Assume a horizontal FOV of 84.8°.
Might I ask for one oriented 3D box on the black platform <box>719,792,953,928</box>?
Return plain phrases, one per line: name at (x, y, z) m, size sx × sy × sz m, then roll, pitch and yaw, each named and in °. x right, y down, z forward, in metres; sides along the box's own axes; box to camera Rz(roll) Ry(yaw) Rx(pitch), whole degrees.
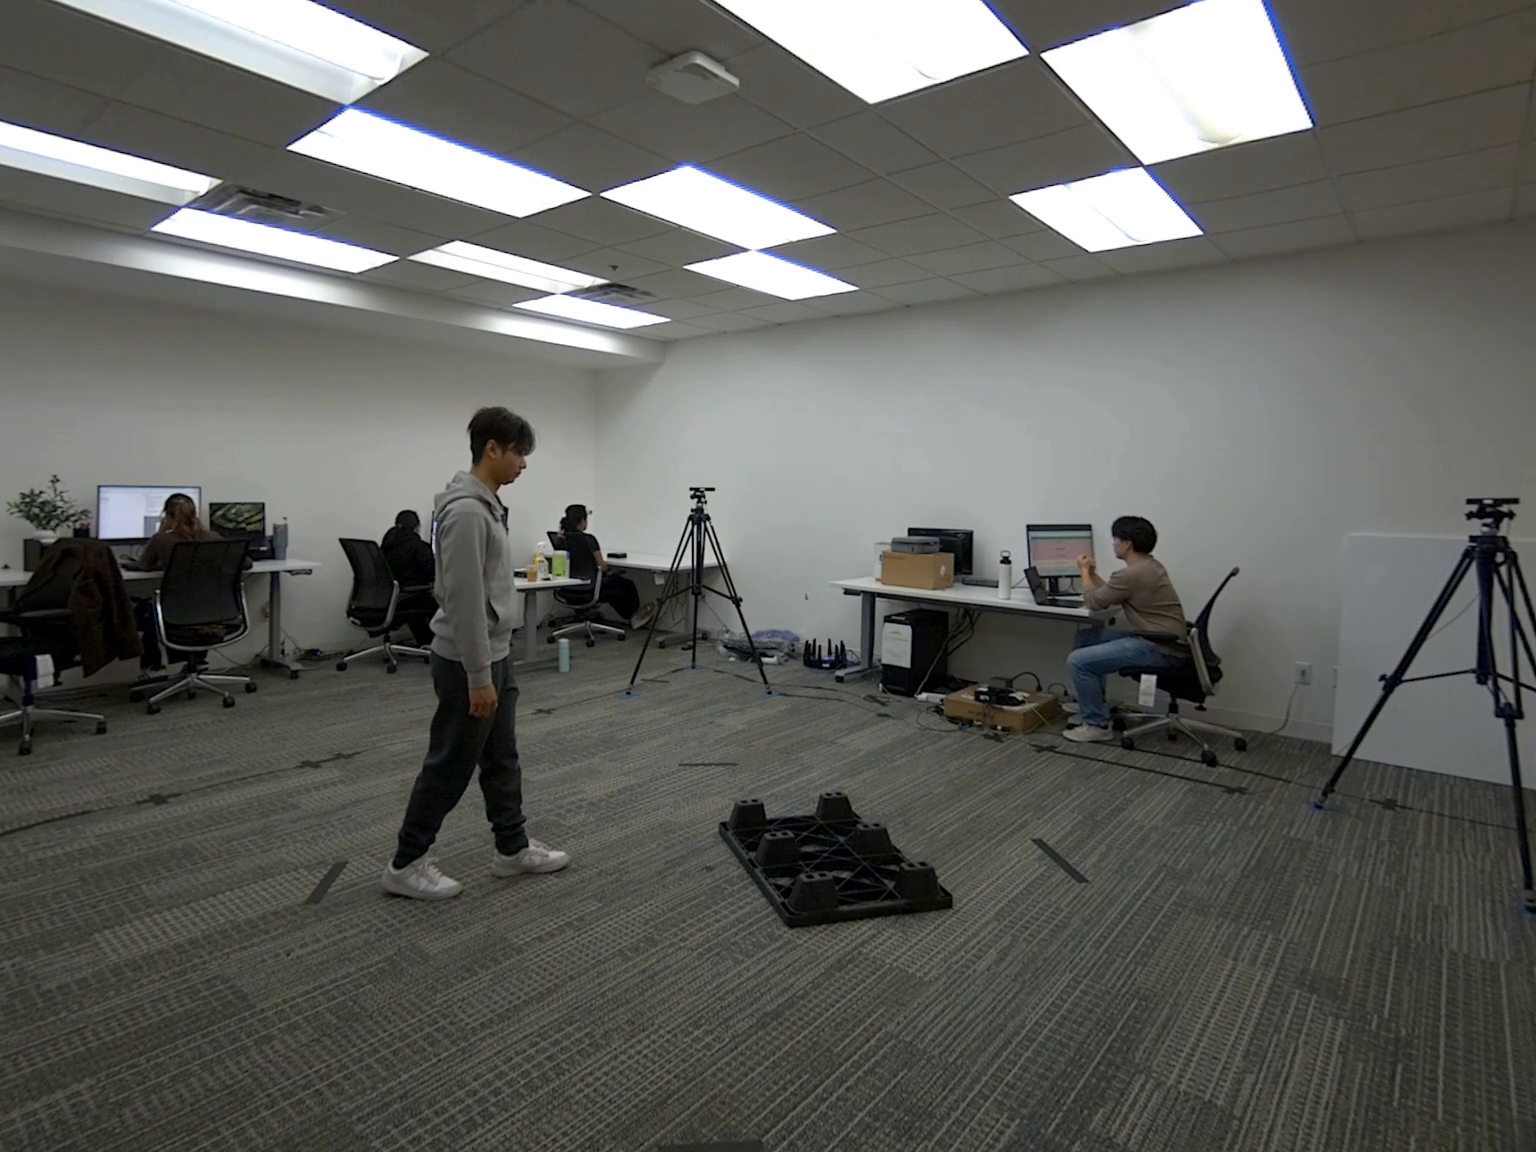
black platform at (0.199, 1.005, 3.150) m, size 0.594 × 0.143 × 0.824 m, roll 0°, pitch 5°, yaw -19°
